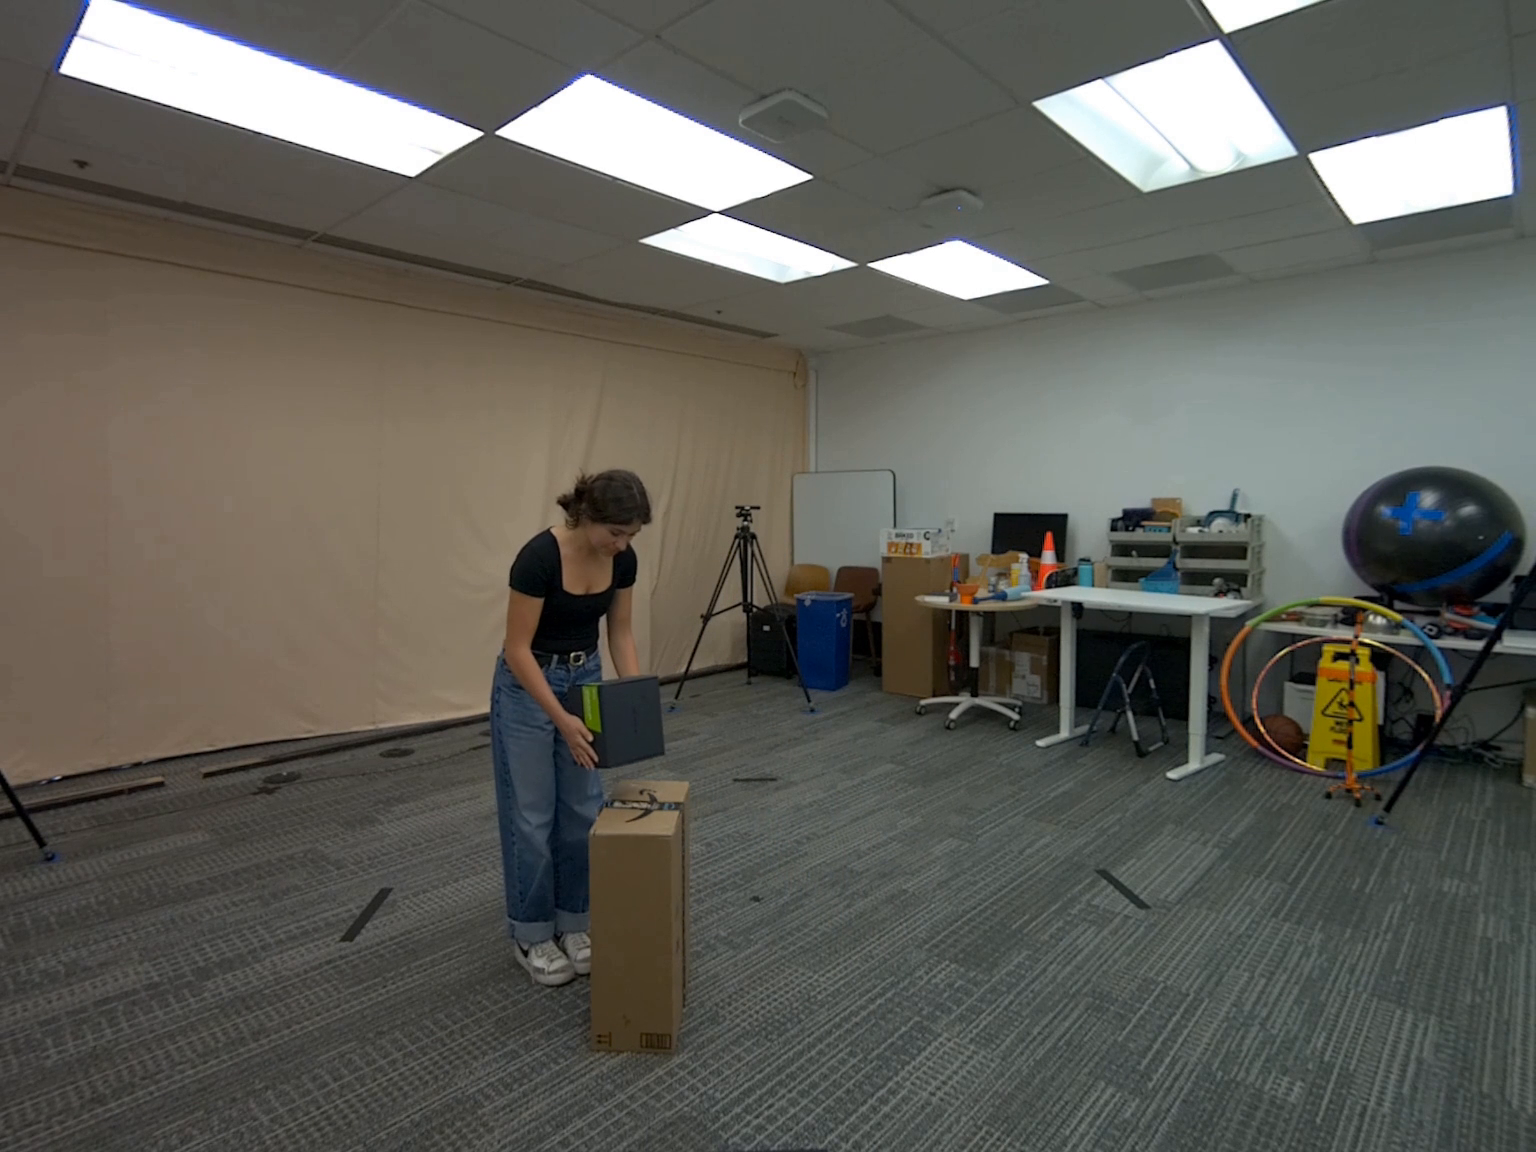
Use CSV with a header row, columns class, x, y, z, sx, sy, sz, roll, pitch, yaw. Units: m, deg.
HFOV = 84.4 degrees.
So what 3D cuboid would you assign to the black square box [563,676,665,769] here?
class,x,y,z,sx,sy,sz,roll,pitch,yaw
black square box,-0.431,0.408,2.404,0.160,0.228,0.210,-6,-3,42
